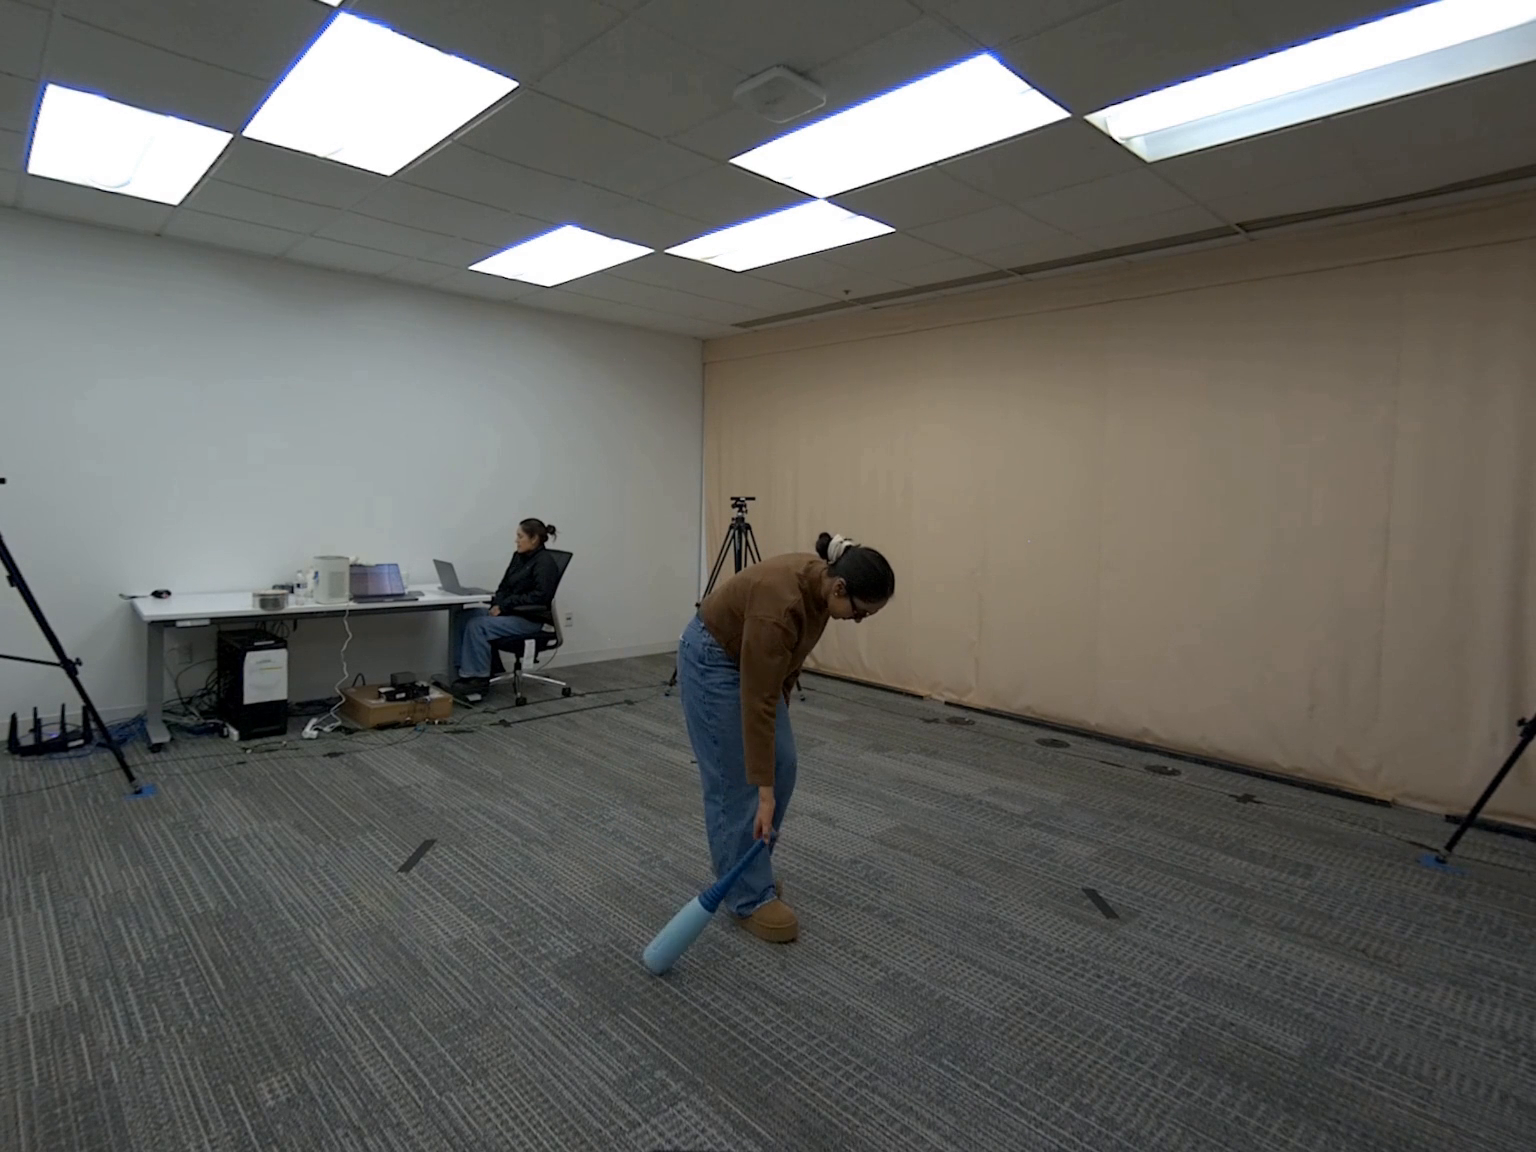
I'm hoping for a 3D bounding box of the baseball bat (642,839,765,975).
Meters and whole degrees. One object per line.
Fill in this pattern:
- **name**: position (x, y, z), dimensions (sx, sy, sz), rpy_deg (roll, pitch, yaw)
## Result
- **baseball bat**: position (-0.175, 0.943, 2.437), dimensions (0.088, 0.543, 0.090), rpy_deg (40, 8, -9)
